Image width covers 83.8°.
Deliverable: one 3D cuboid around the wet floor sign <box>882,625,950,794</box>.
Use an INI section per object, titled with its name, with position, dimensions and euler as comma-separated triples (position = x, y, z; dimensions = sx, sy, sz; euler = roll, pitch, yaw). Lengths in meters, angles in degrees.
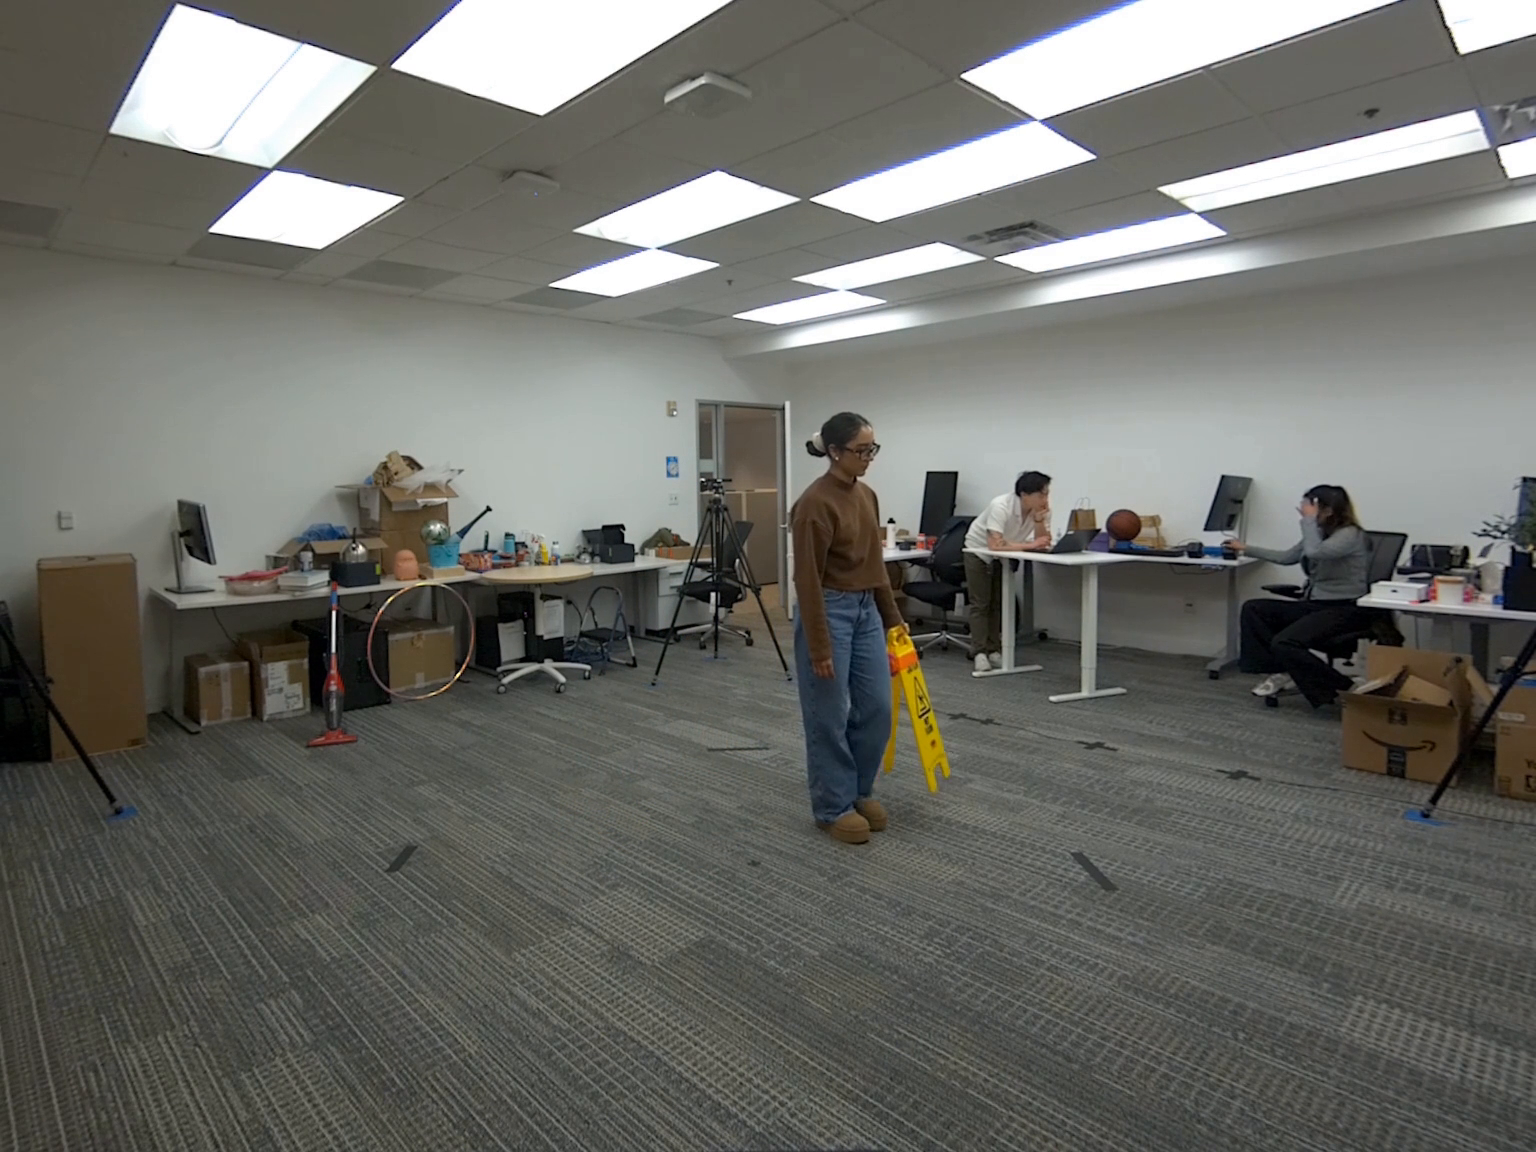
[wet floor sign]
position = 0.566, 0.533, 3.569
dimensions = 0.296, 0.646, 0.276
euler = -5, 0, 27
